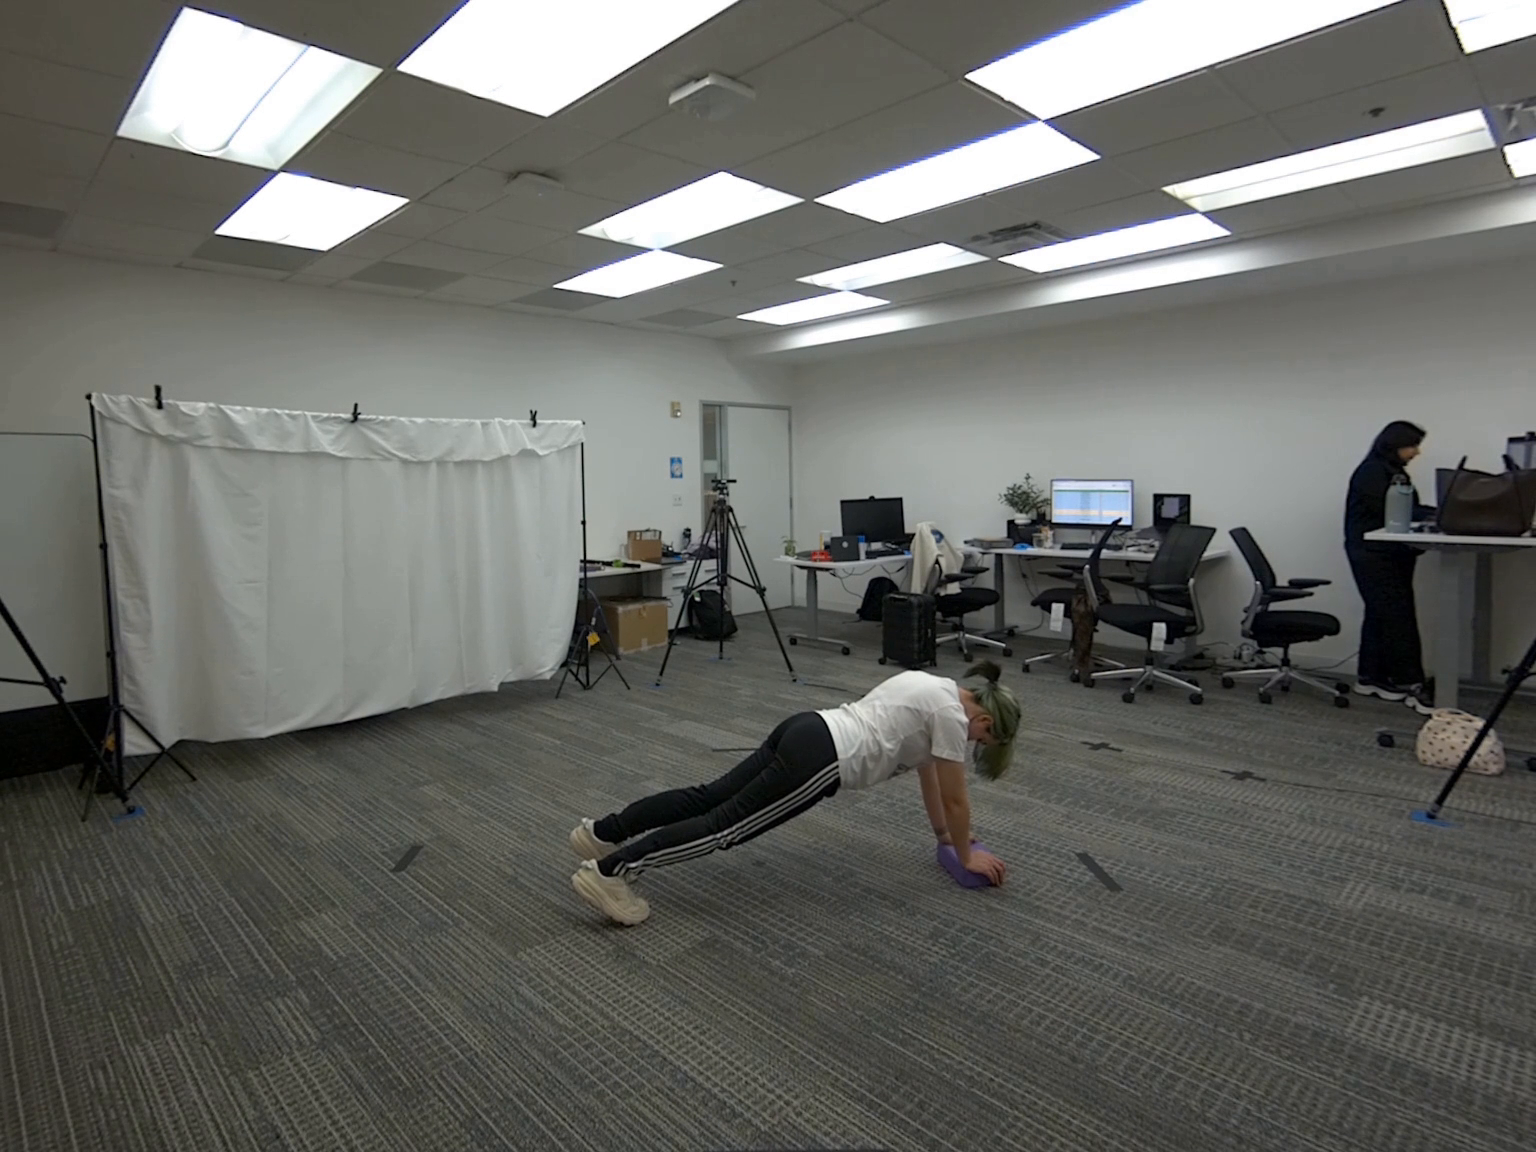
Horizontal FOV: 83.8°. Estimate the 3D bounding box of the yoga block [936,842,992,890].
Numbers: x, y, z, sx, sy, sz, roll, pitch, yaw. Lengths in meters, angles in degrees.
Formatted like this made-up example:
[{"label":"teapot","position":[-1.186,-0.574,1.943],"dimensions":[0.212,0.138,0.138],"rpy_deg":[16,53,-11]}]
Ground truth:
[{"label":"yoga block","position":[0.705,1.006,3.007],"dimensions":[0.148,0.076,0.232],"rpy_deg":[-1,5,-10]}]
